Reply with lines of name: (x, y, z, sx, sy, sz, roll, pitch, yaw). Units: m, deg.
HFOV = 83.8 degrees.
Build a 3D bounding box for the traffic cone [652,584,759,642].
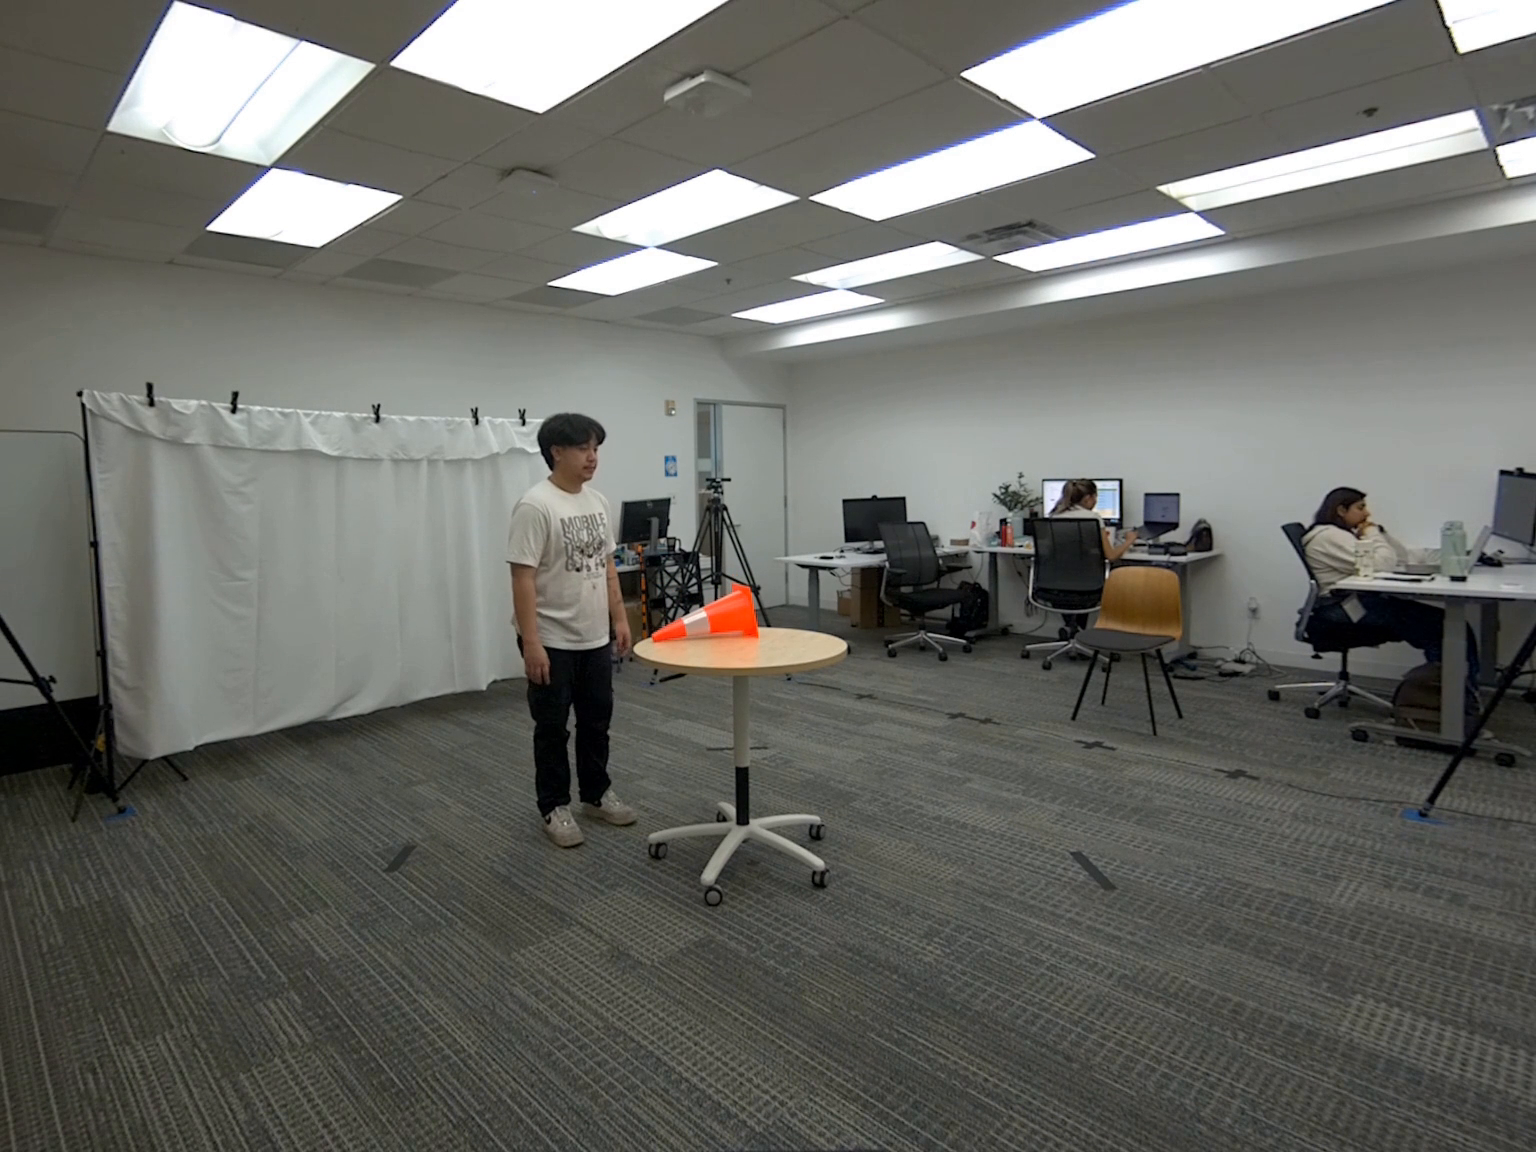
traffic cone: (-0.259, 0.181, 3.221, 0.379, 0.200, 0.210, -17, 15, -19)
